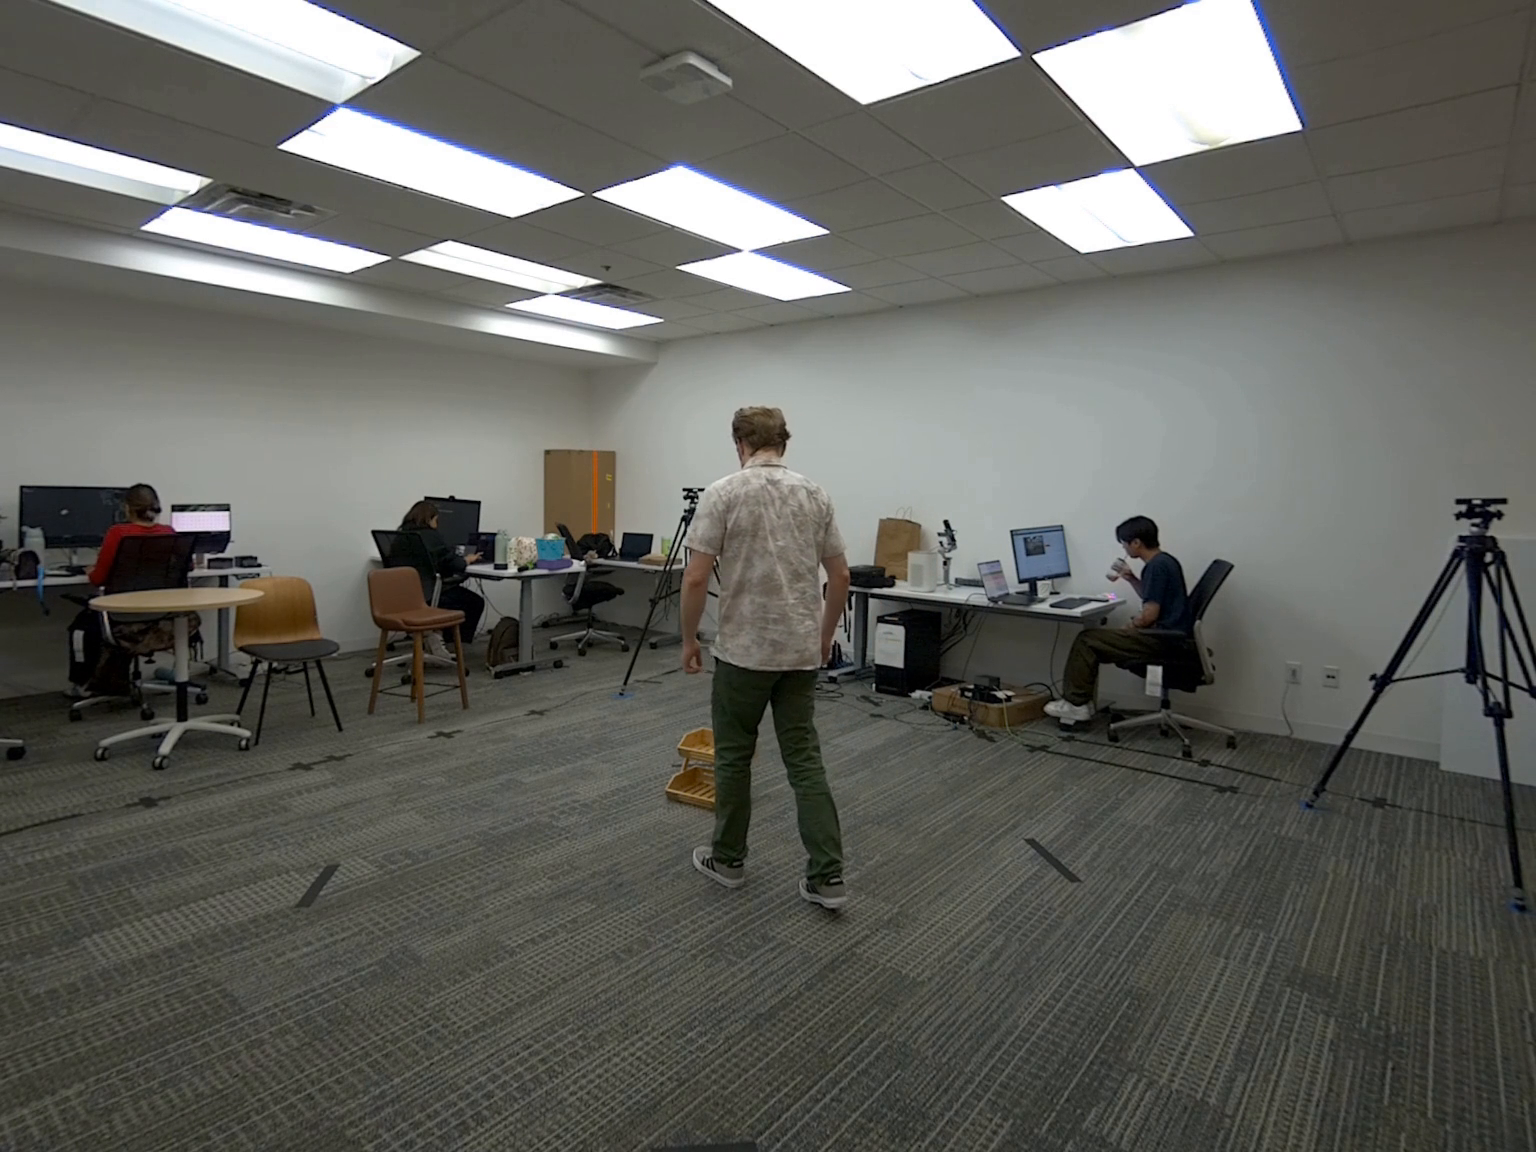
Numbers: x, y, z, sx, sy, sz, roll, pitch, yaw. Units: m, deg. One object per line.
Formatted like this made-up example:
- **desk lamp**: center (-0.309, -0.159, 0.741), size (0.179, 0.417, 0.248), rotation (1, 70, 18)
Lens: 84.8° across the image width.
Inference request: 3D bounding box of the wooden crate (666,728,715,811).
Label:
- **wooden crate**: center (-0.268, 0.863, 3.842), size (0.334, 0.272, 0.294), rotation (3, 4, 30)
